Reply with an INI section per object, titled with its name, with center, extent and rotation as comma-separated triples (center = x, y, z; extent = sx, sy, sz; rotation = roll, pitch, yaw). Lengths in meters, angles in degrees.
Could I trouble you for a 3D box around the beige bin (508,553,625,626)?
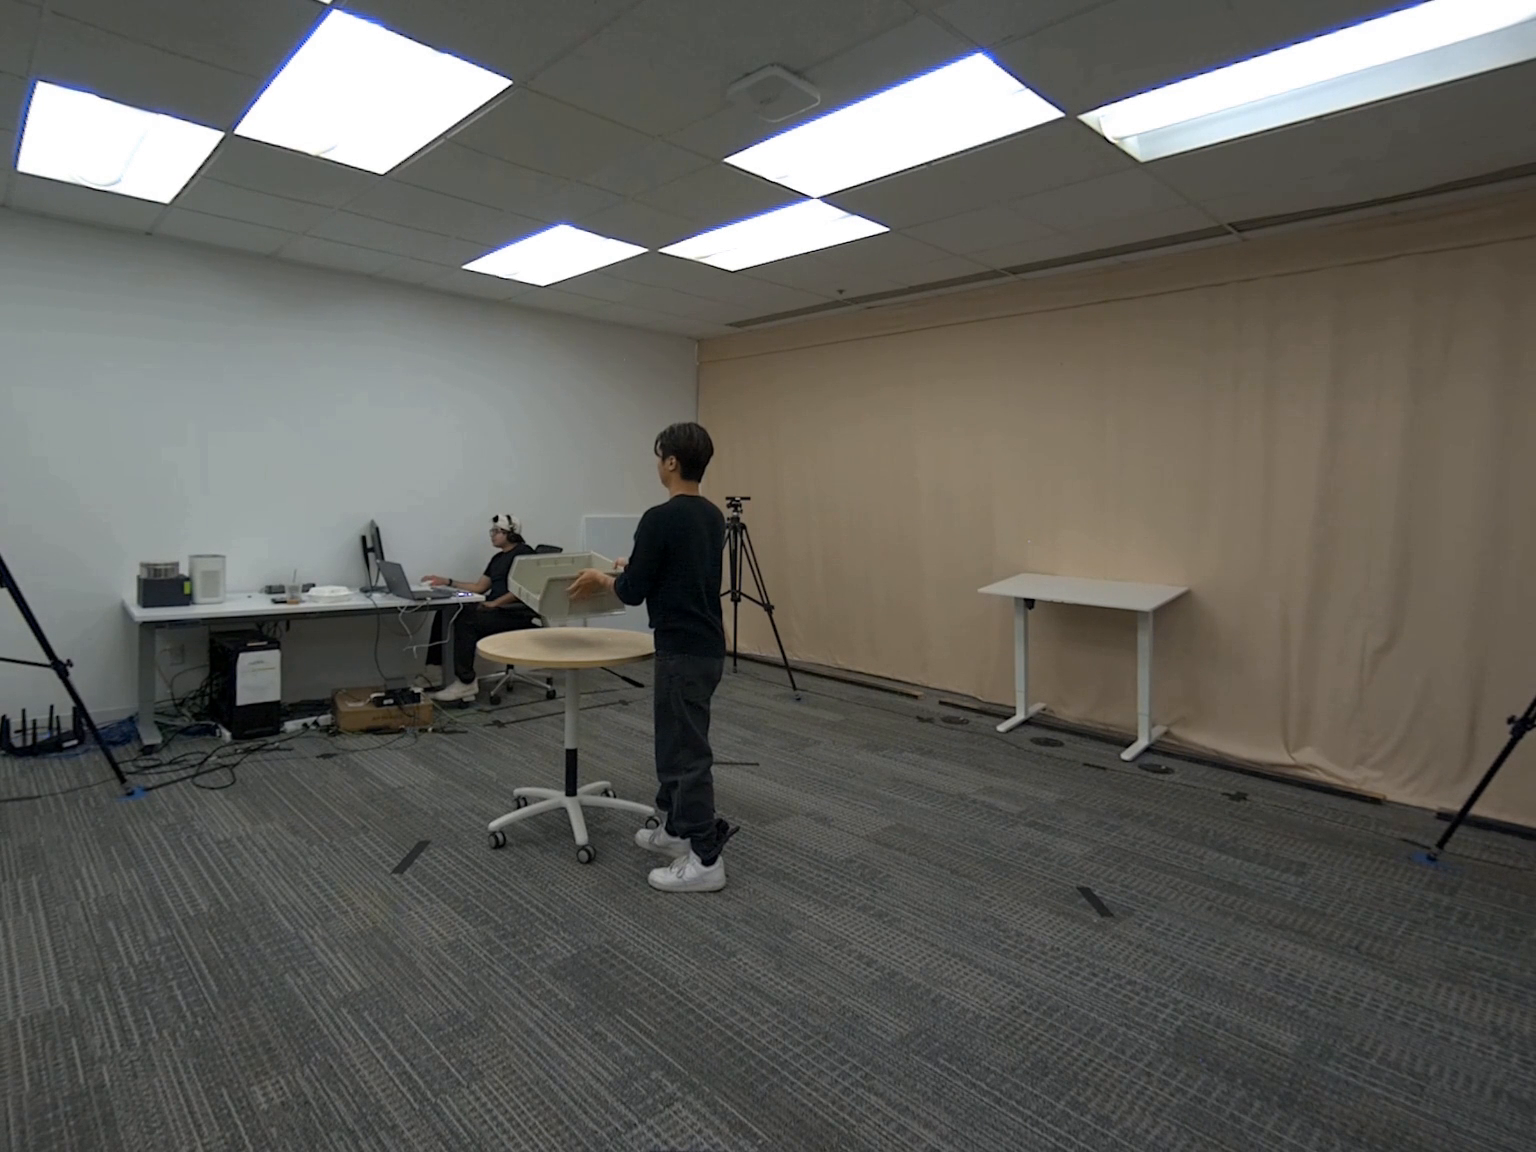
[beige bin]
center = -0.847, 0.038, 3.476
extent = 0.370, 0.187, 0.434
rotation = -4, 14, -31
